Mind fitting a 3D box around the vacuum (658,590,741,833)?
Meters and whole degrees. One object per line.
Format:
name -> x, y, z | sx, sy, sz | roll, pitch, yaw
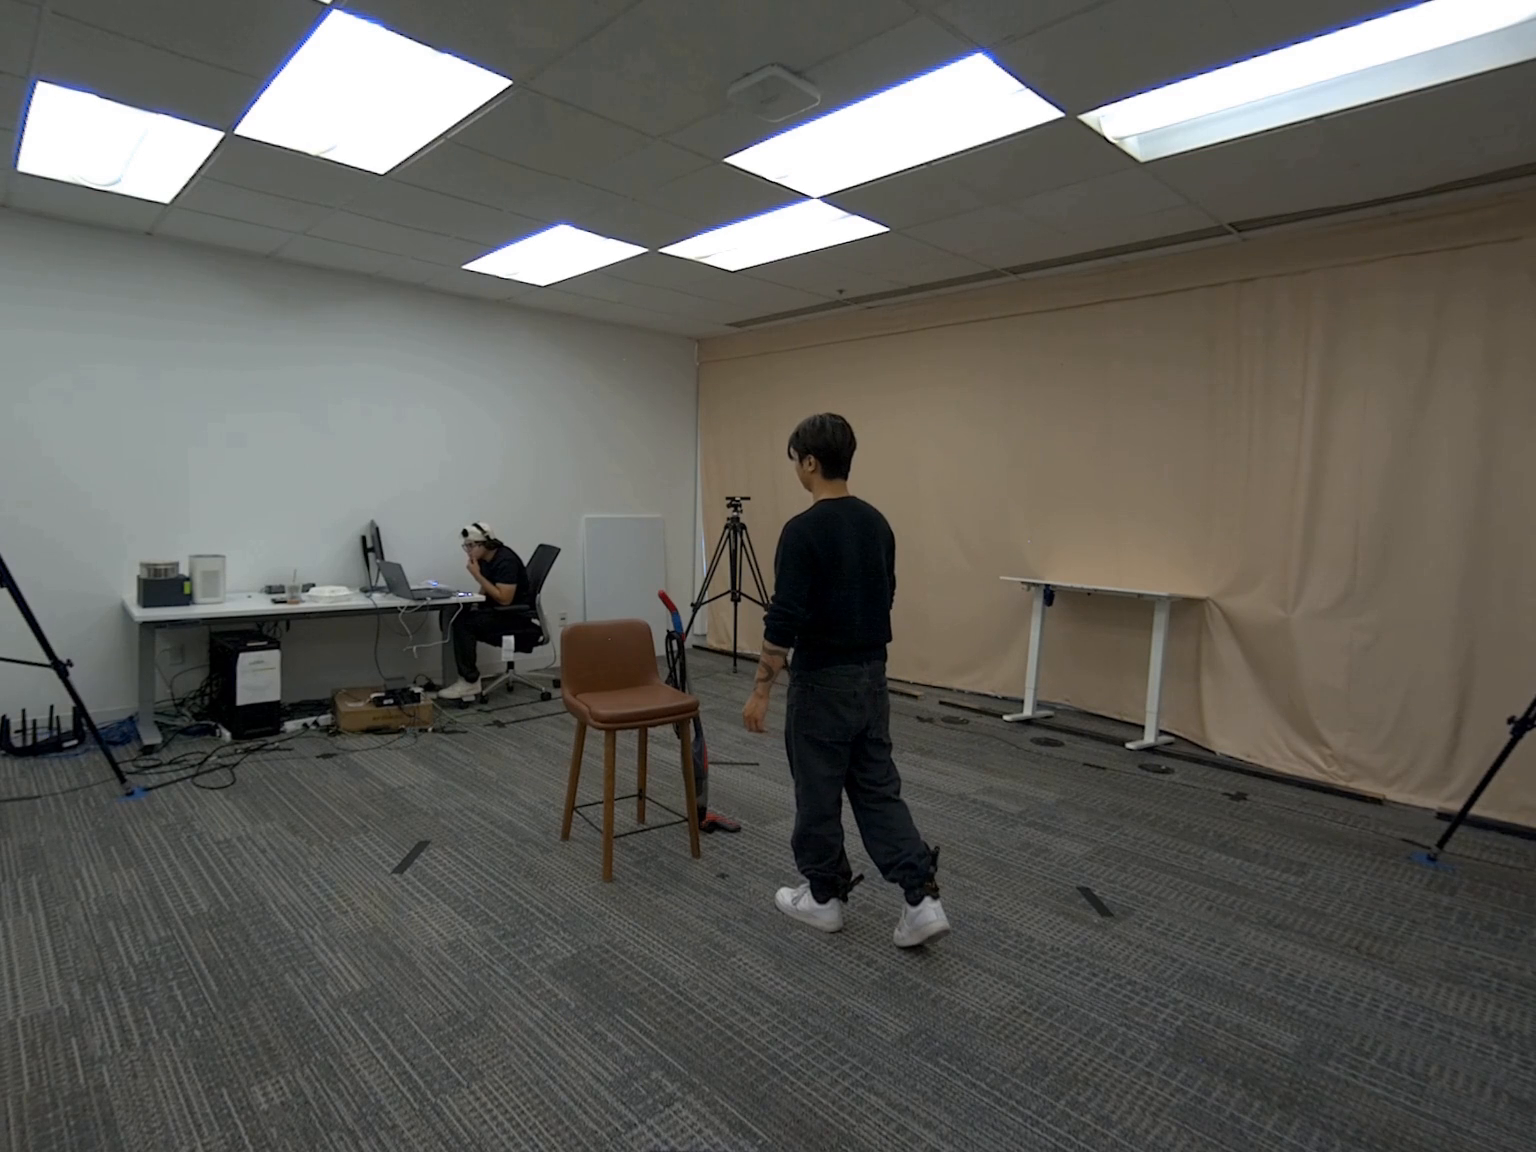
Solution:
vacuum -> -0.350, 0.562, 3.476 | 0.142, 1.038, 0.259 | -19, 16, -38
